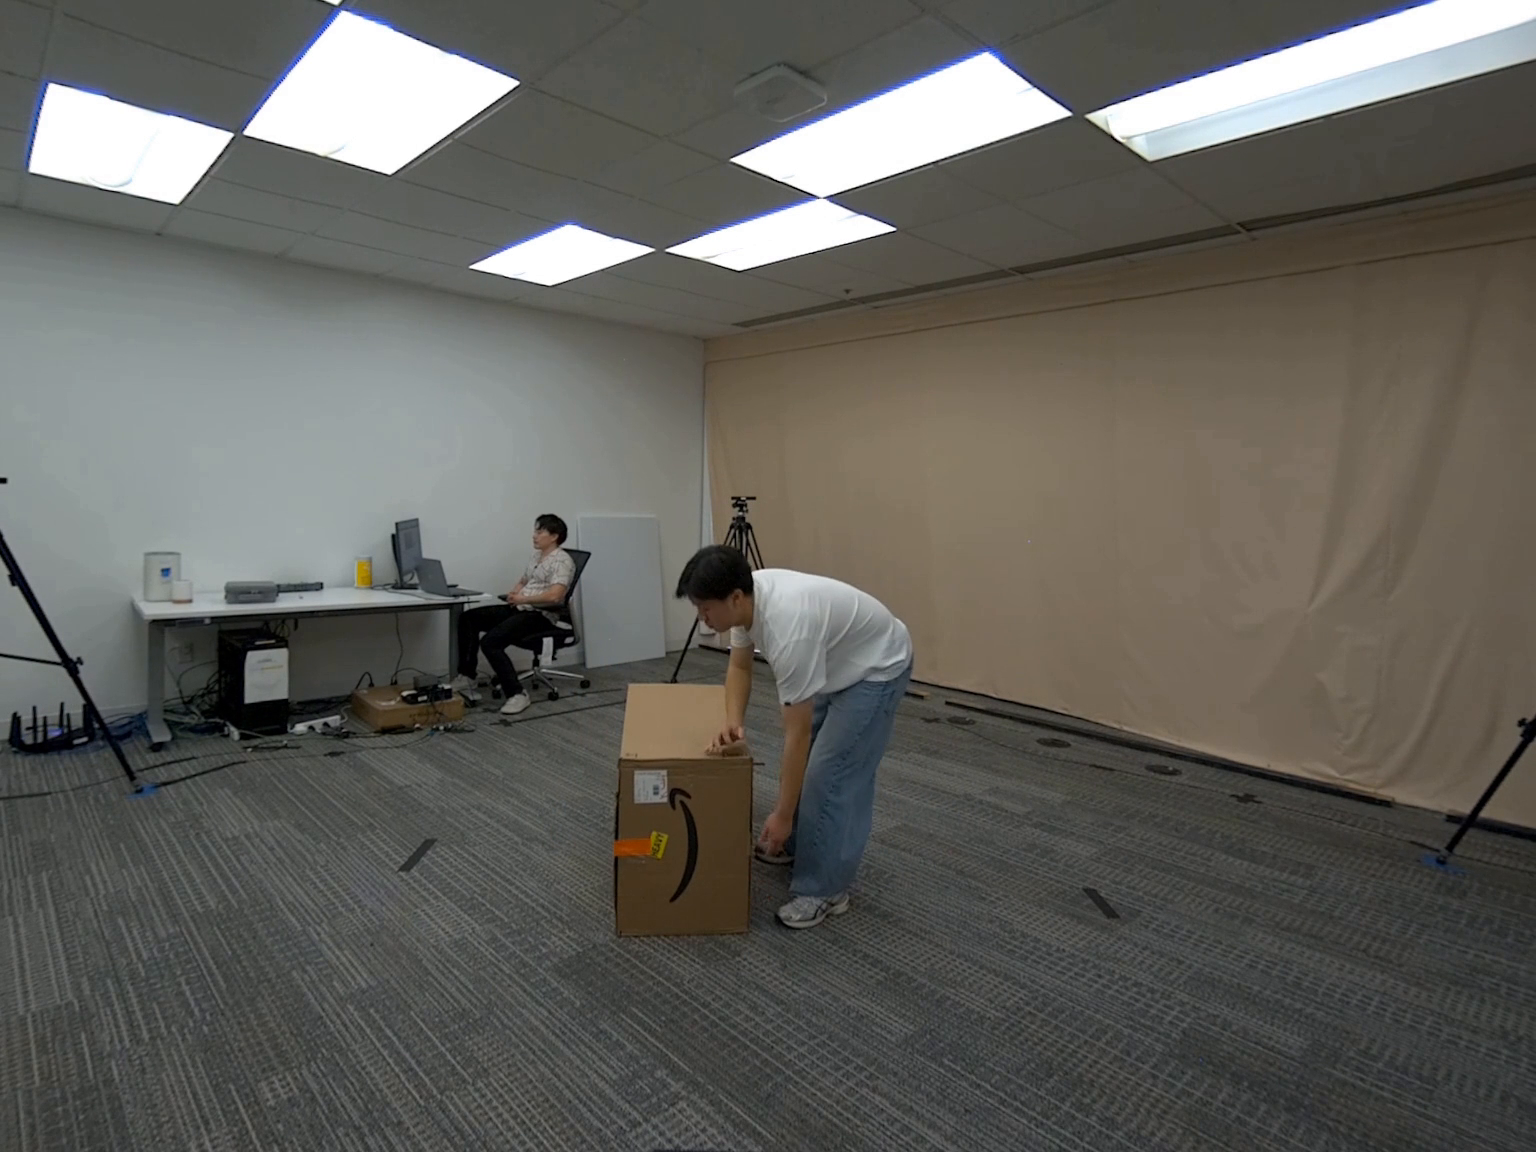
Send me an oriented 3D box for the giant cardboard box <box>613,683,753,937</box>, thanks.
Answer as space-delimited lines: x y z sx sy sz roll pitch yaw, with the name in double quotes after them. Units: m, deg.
-0.345 0.804 3.166 0.424 0.576 1.034 1 5 -8 "giant cardboard box"
